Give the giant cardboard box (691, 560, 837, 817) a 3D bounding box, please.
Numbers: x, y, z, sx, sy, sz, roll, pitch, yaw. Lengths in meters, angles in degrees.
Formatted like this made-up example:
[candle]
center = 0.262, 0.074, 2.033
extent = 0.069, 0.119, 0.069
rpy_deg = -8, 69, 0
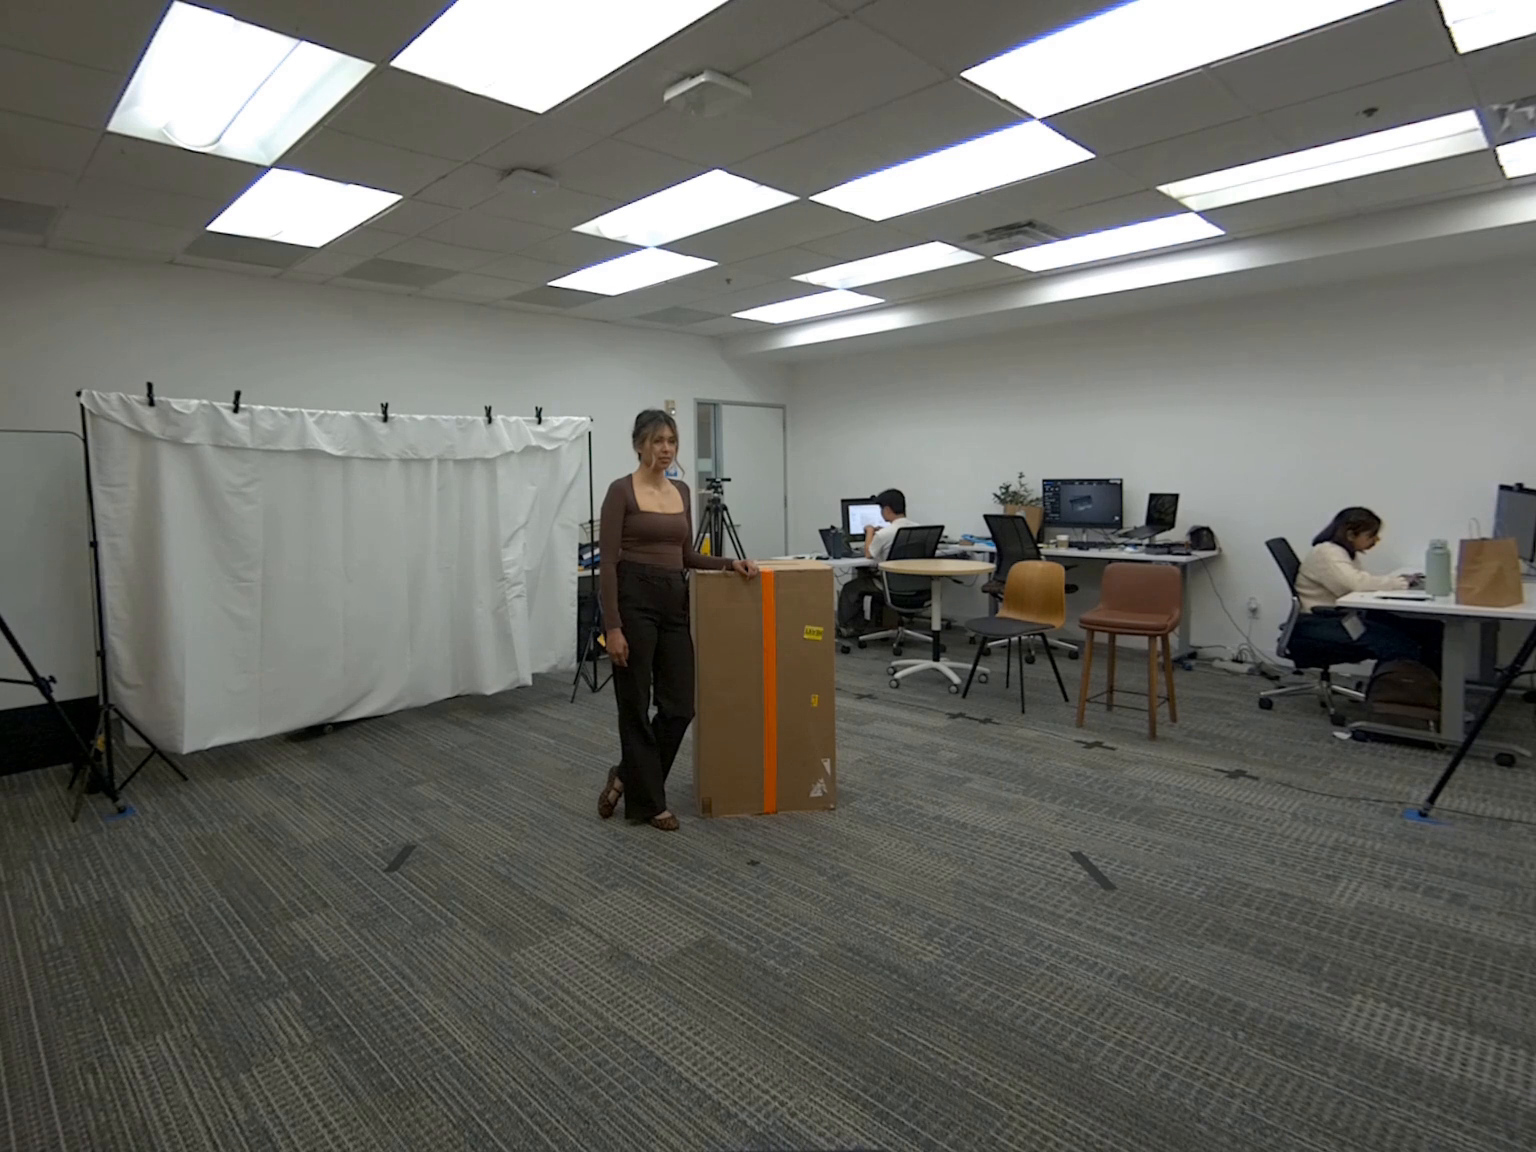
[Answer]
[giant cardboard box]
center = -0.029, 0.462, 3.741
extent = 0.579, 1.023, 0.452
rpy_deg = -1, 4, -9
